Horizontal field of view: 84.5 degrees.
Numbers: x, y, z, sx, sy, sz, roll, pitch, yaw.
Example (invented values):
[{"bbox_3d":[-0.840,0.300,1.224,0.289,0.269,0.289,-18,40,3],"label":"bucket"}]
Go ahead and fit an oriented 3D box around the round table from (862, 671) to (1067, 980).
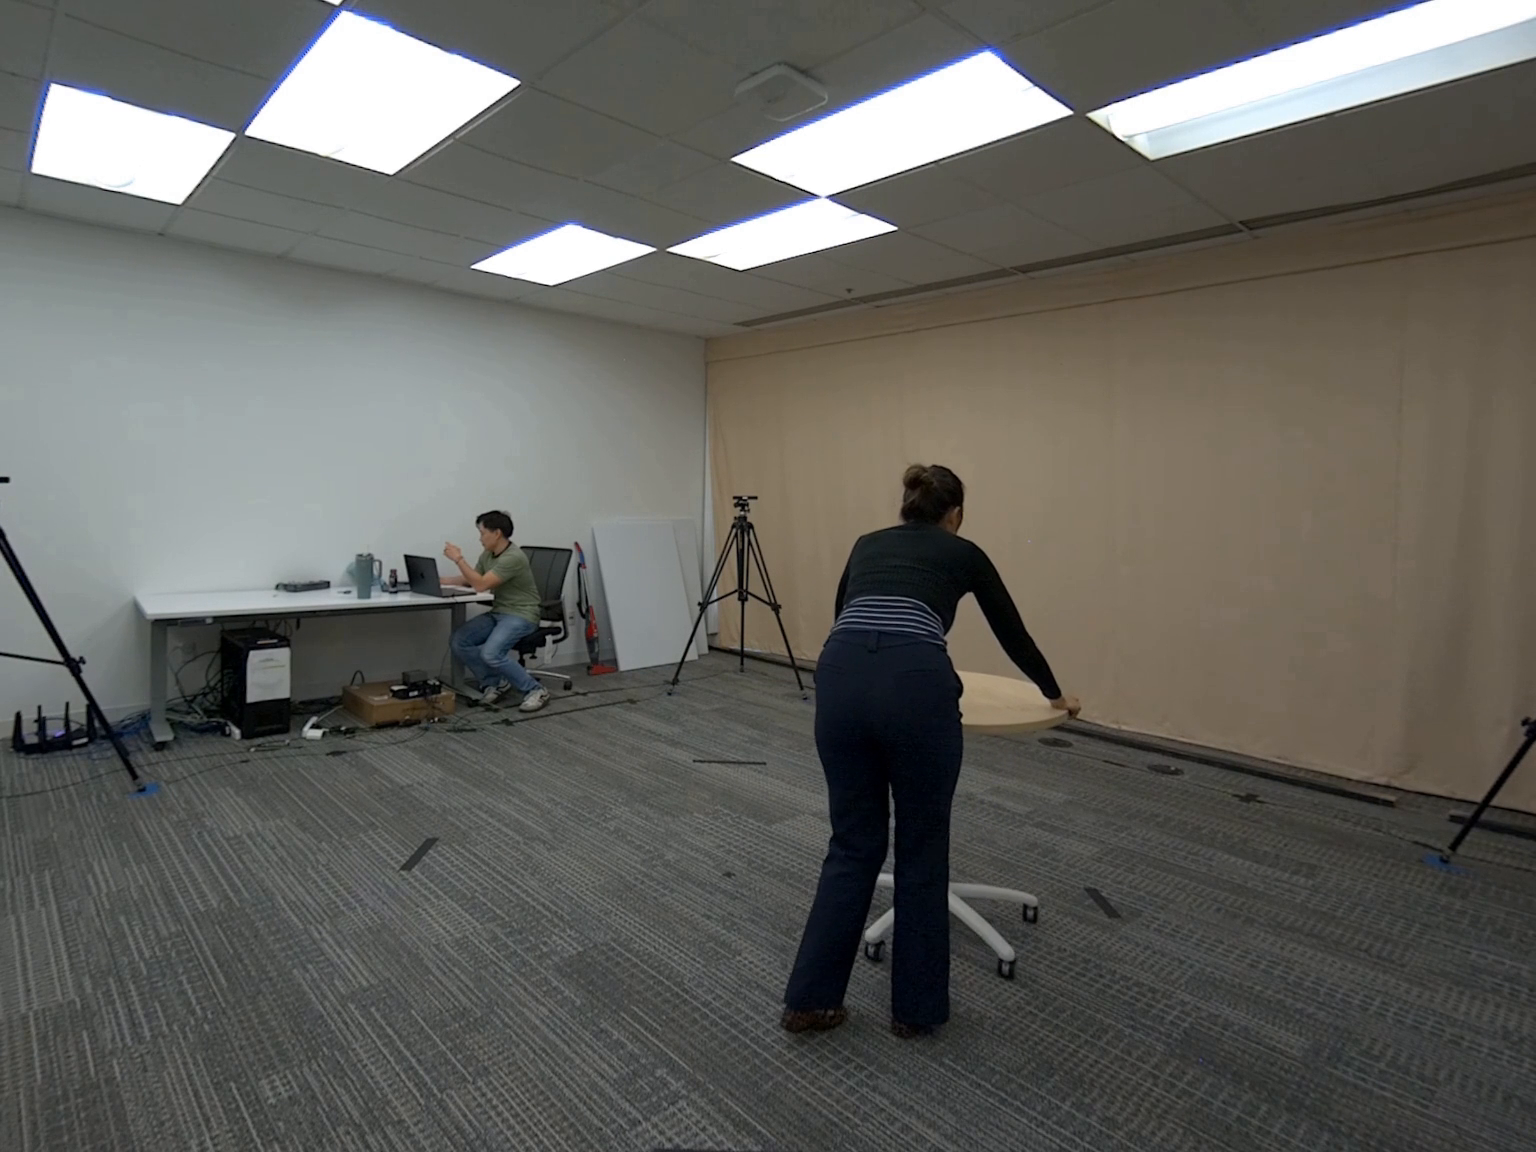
[{"bbox_3d":[0.553,0.769,2.759,0.763,0.792,0.767,1,4,-1],"label":"round table"}]
